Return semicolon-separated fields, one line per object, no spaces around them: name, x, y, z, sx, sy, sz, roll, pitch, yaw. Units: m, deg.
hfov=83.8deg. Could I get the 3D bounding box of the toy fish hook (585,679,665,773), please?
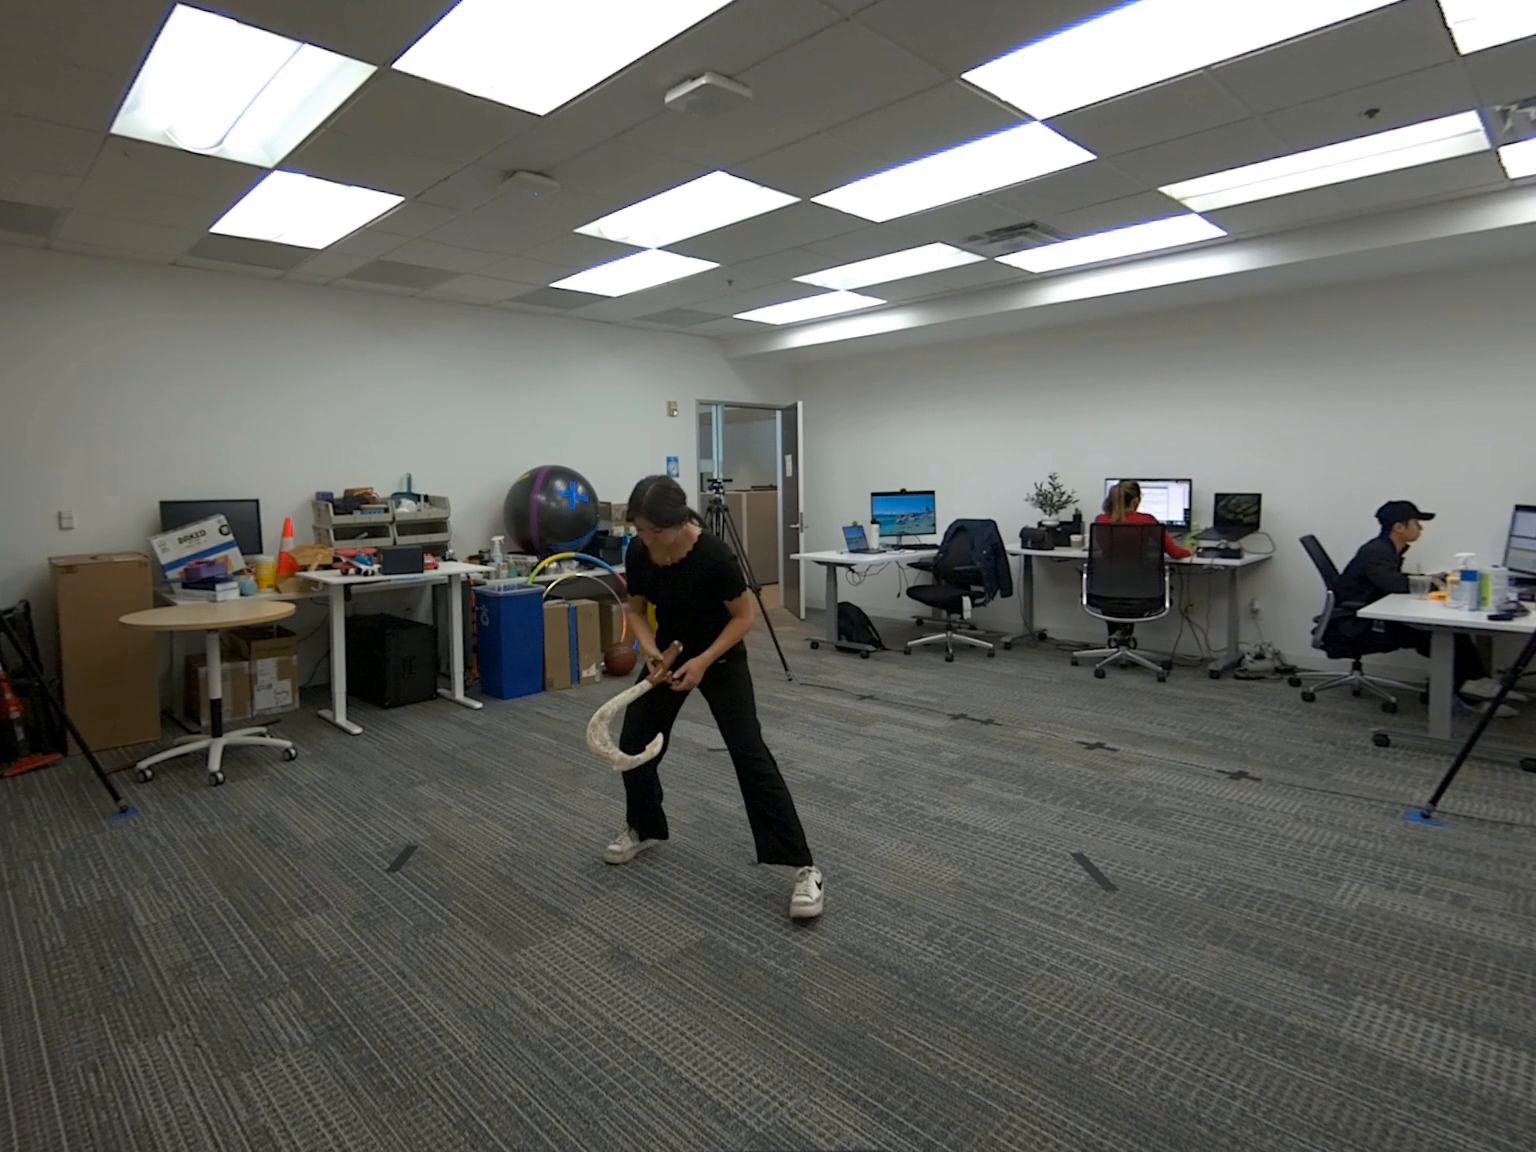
toy fish hook;-0.365;0.405;2.688;0.507;0.225;0.048;-51;-1;-42
